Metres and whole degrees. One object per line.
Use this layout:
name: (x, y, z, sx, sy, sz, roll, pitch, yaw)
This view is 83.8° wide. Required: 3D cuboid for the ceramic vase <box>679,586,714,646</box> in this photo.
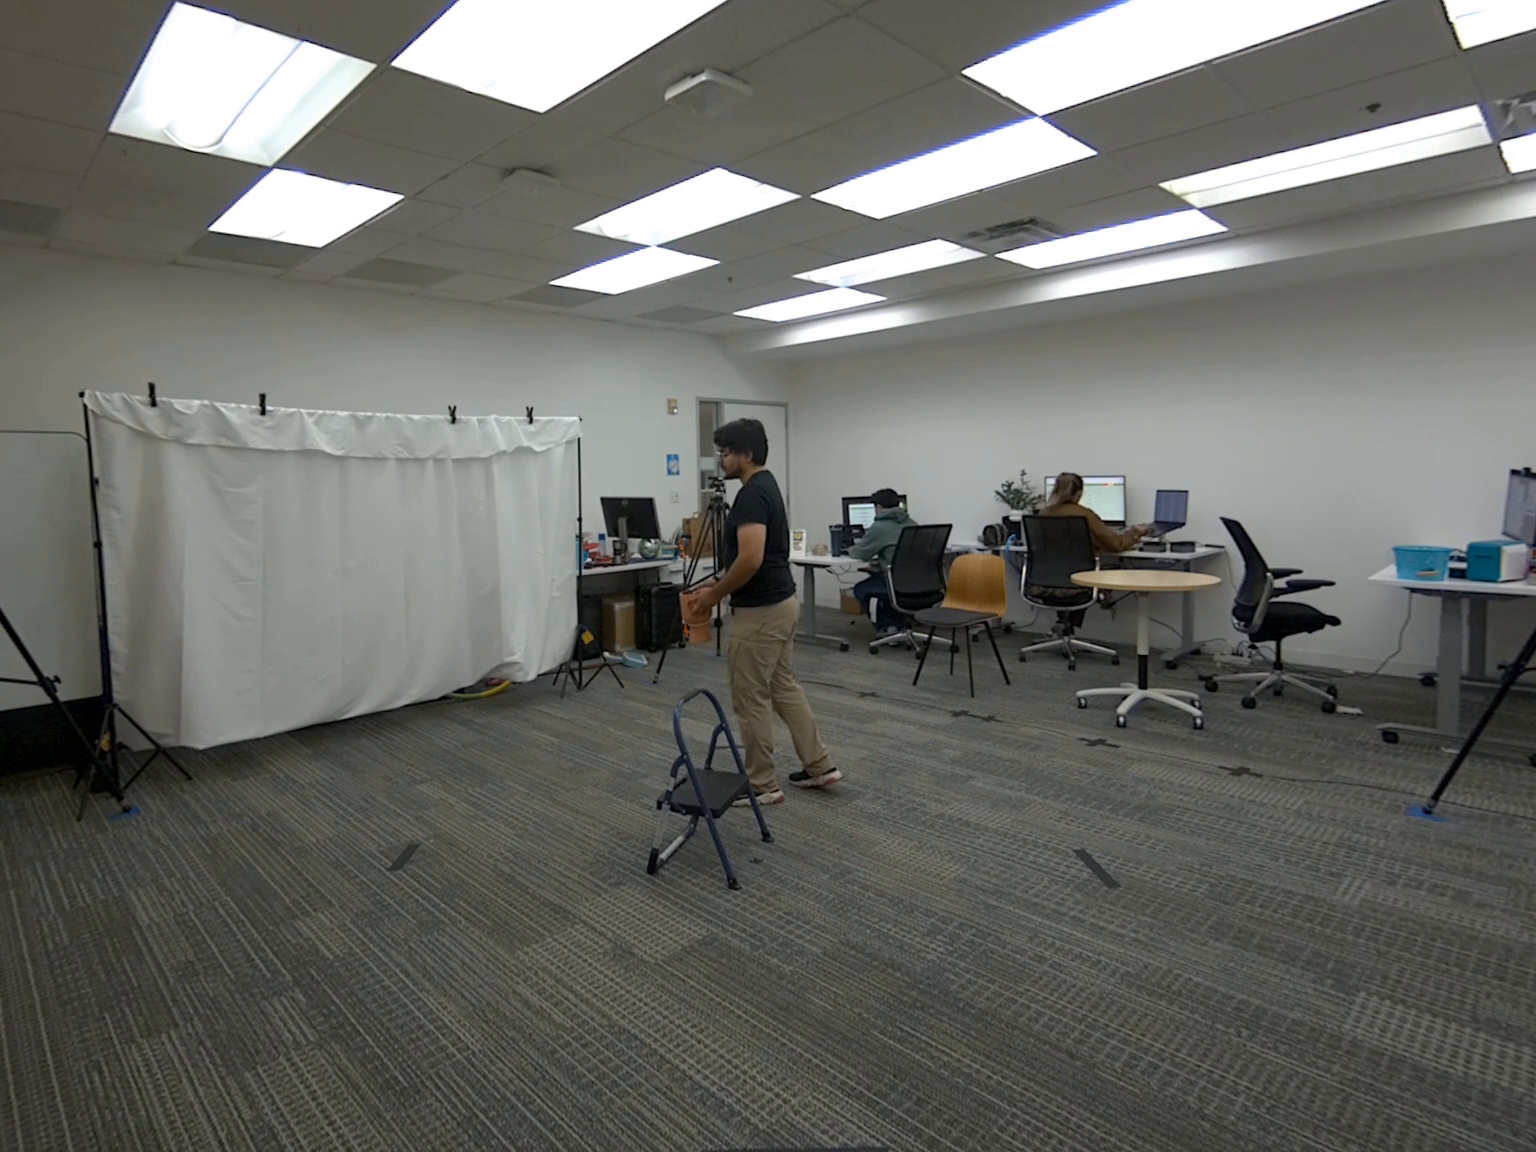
ceramic vase: (-0.297, 0.171, 3.708, 0.138, 0.218, 0.156, -1, 9, 34)
